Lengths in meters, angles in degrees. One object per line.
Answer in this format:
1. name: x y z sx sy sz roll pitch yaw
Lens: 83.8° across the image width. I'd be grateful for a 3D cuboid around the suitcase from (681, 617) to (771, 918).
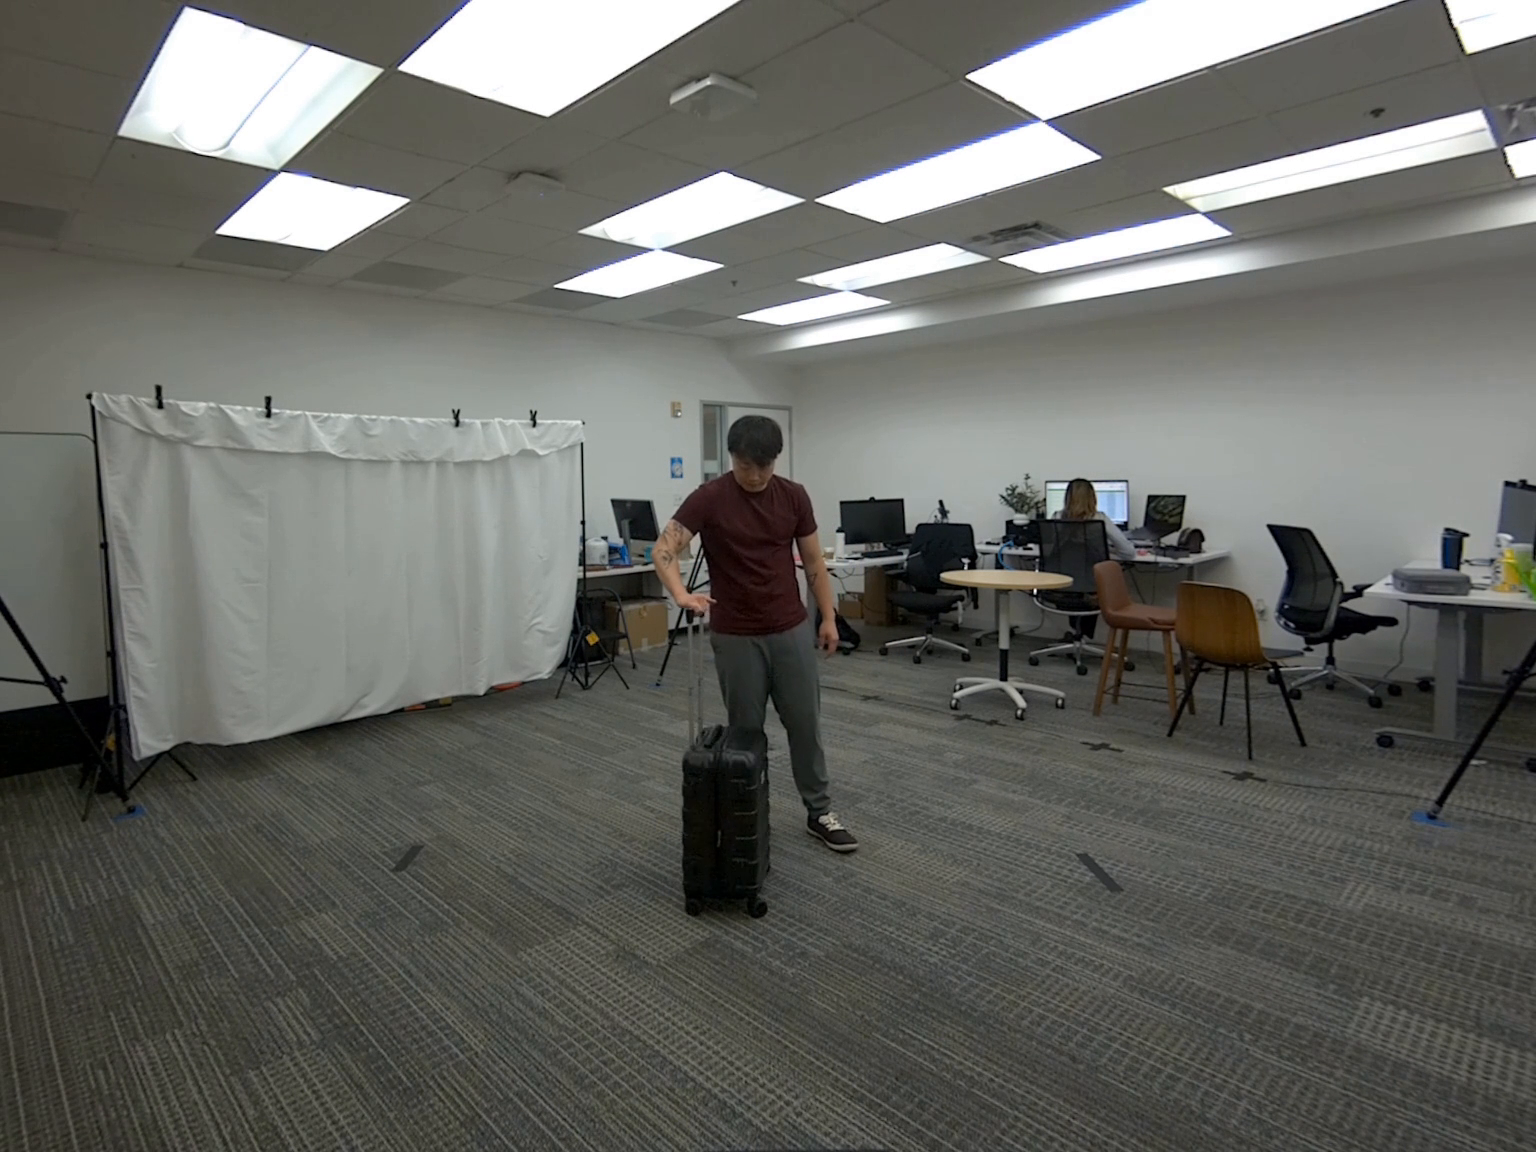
1. suitcase: -0.133 0.600 2.869 0.259 0.976 0.383 2 4 5
